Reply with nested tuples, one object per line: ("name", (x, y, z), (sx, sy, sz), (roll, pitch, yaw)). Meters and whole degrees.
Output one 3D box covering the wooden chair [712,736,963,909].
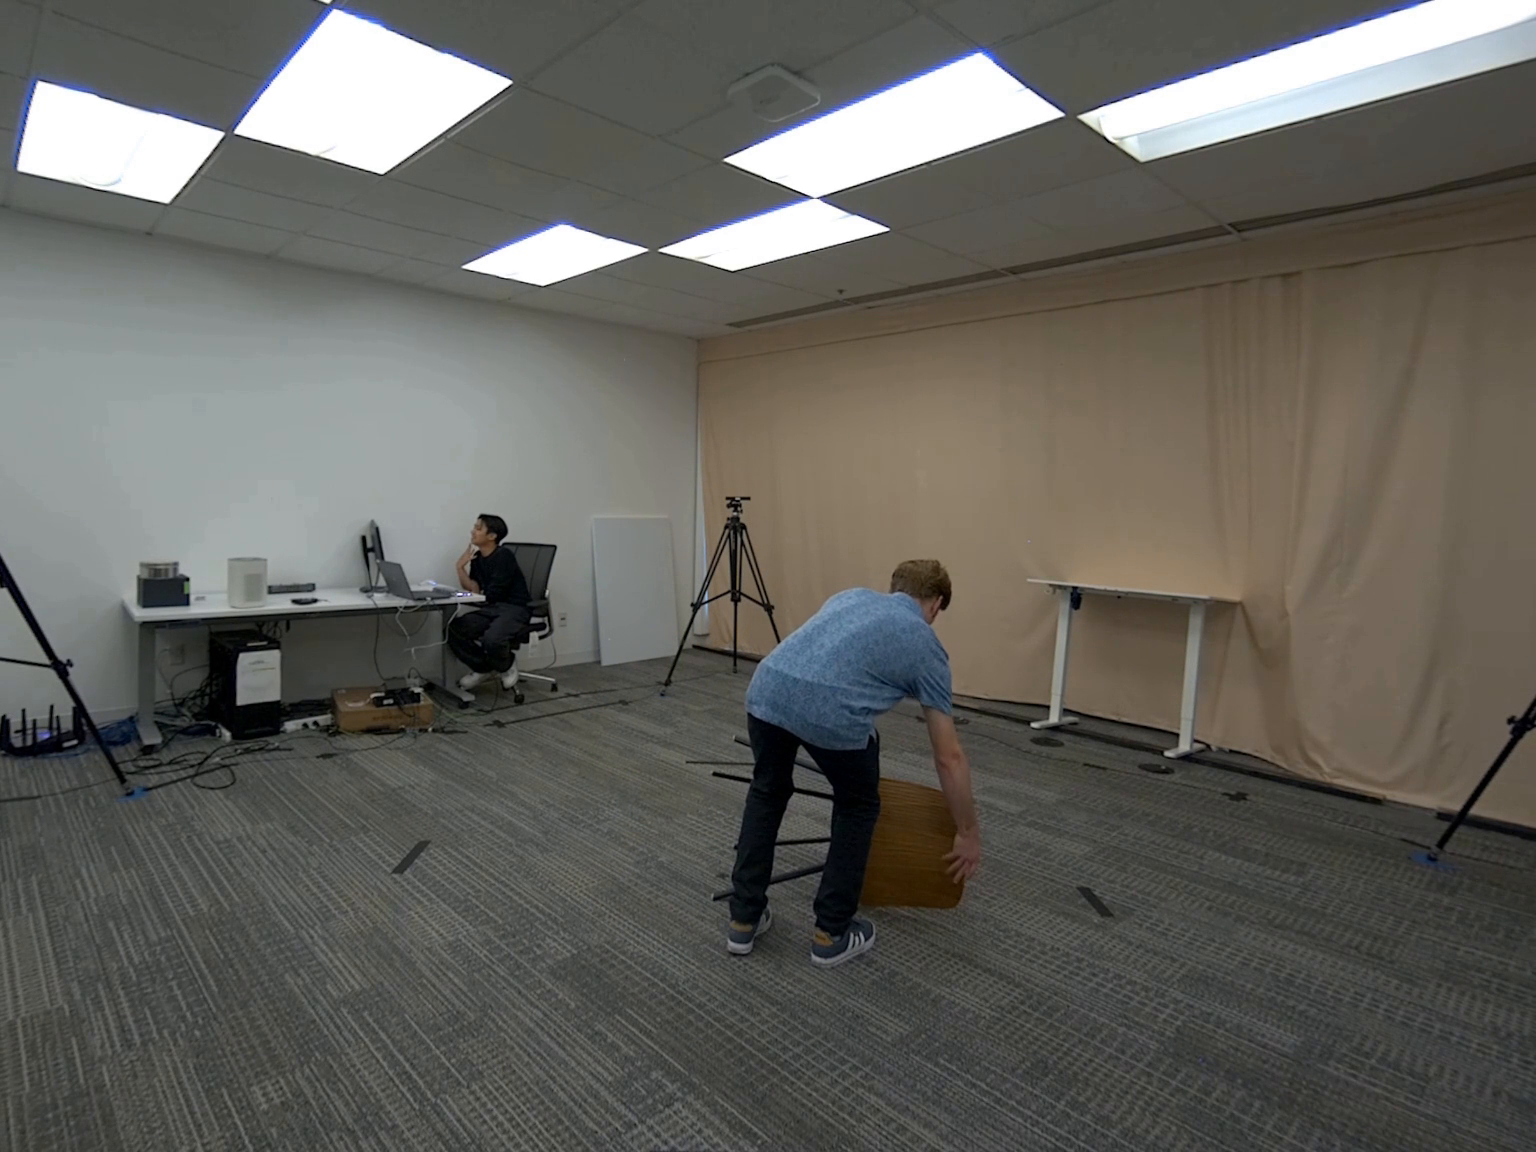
("wooden chair", (0.259, 0.891, 3.049), (0.887, 0.477, 0.518), (2, 3, 14))
